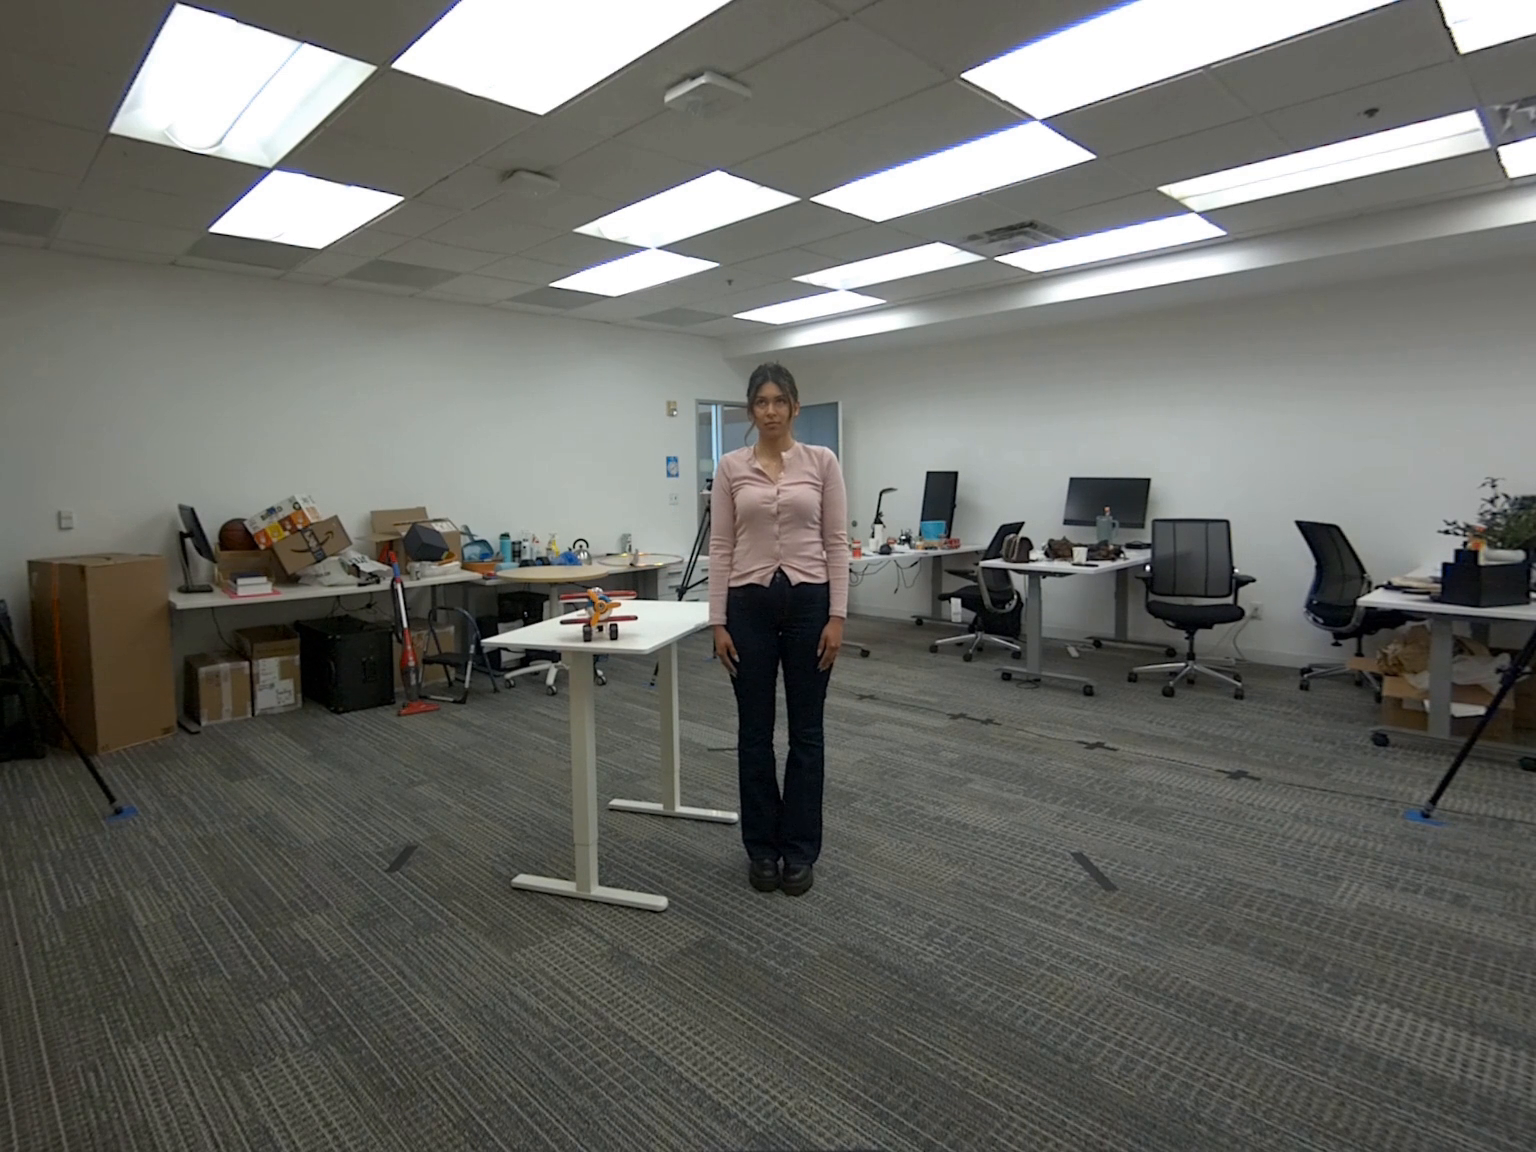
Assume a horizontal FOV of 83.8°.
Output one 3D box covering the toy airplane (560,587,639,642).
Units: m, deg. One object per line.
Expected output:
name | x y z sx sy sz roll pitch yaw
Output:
toy airplane | -0.581 0.125 2.841 0.245 0.155 0.267 -8 10 -41
